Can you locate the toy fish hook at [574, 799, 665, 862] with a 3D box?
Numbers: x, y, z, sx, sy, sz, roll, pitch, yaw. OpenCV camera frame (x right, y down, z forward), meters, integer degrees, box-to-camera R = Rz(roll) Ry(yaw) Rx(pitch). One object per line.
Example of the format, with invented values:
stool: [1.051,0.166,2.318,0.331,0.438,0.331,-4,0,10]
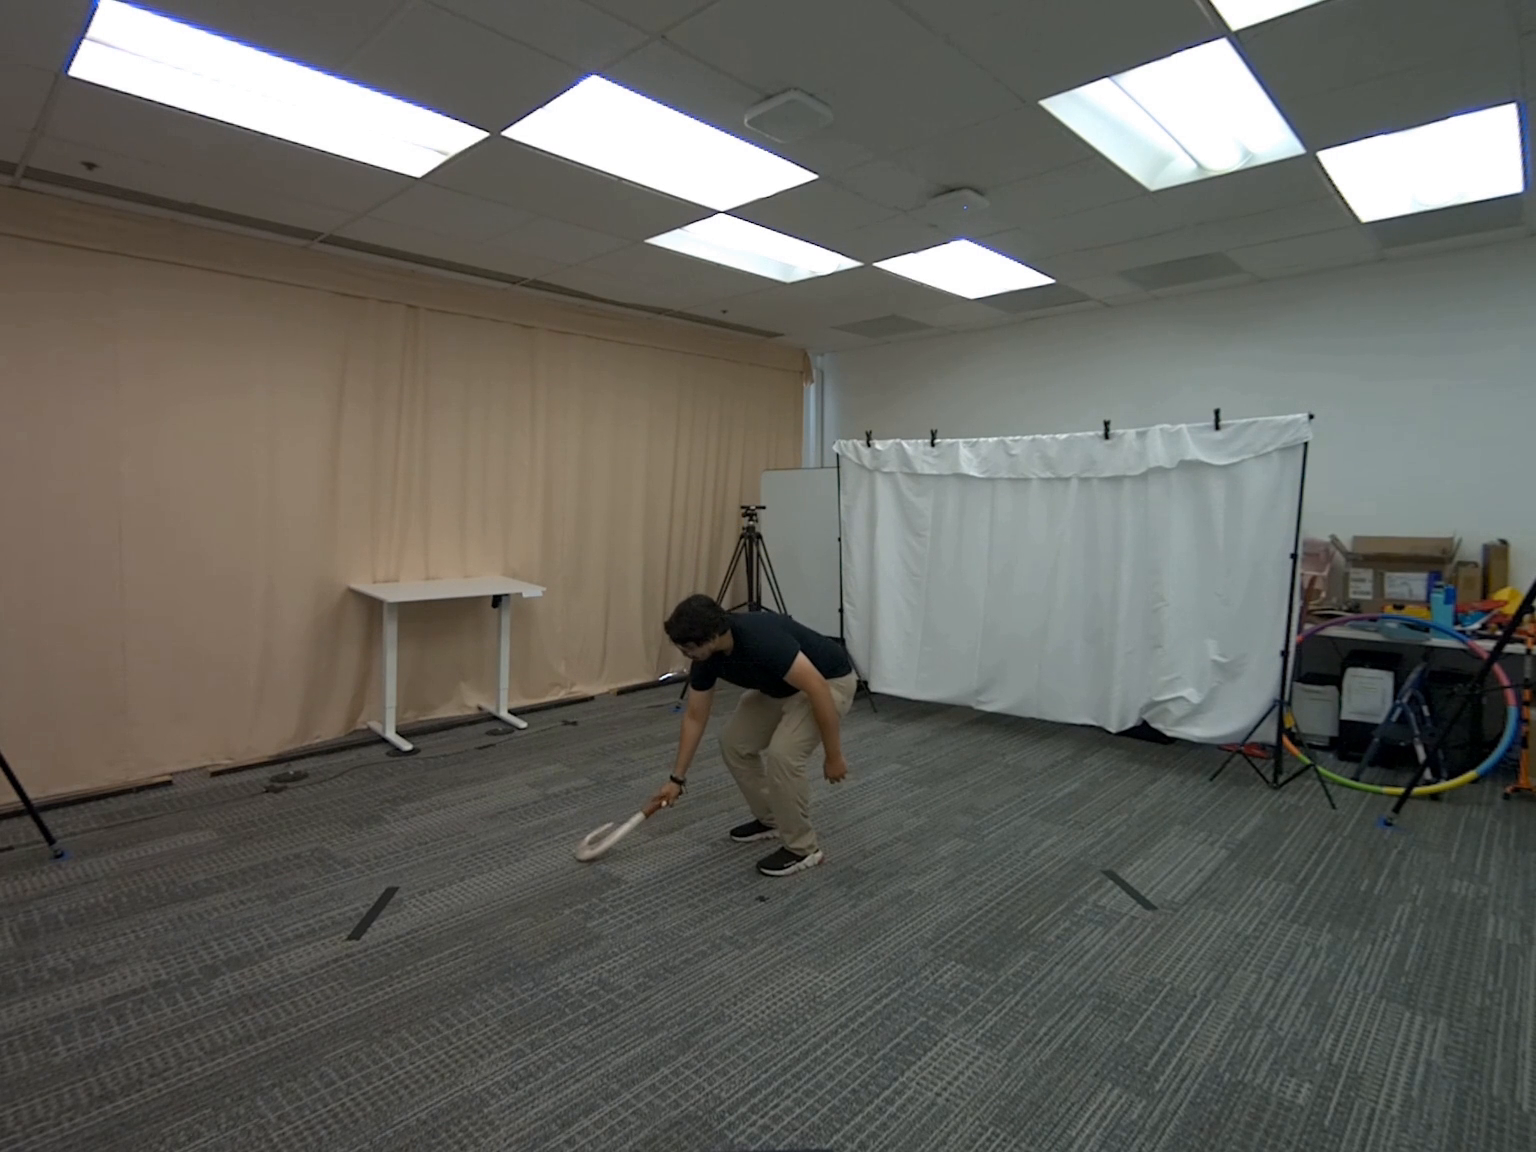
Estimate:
toy fish hook: [-0.560,0.986,3.437,0.501,0.048,0.230,-30,14,-18]
